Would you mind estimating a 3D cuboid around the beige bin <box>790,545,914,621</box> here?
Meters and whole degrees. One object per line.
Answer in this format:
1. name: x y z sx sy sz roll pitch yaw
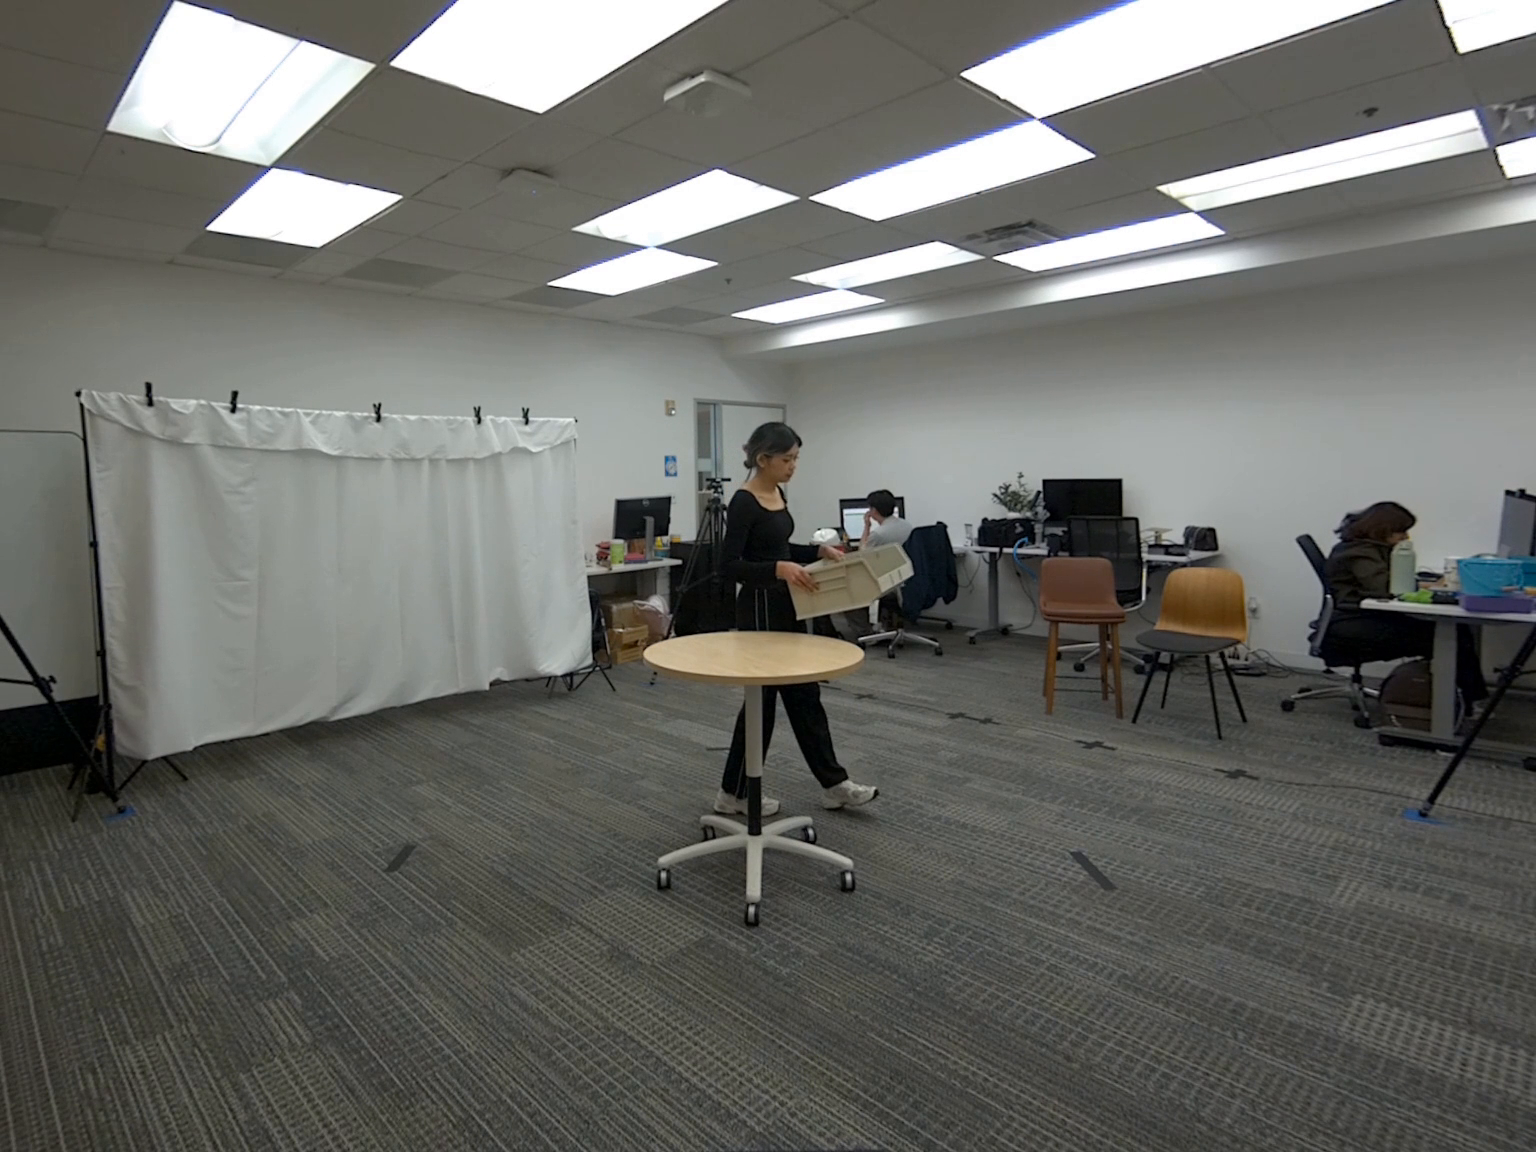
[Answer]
1. beige bin: 0.331 0.016 3.378 0.384 0.188 0.416 -14 4 28
